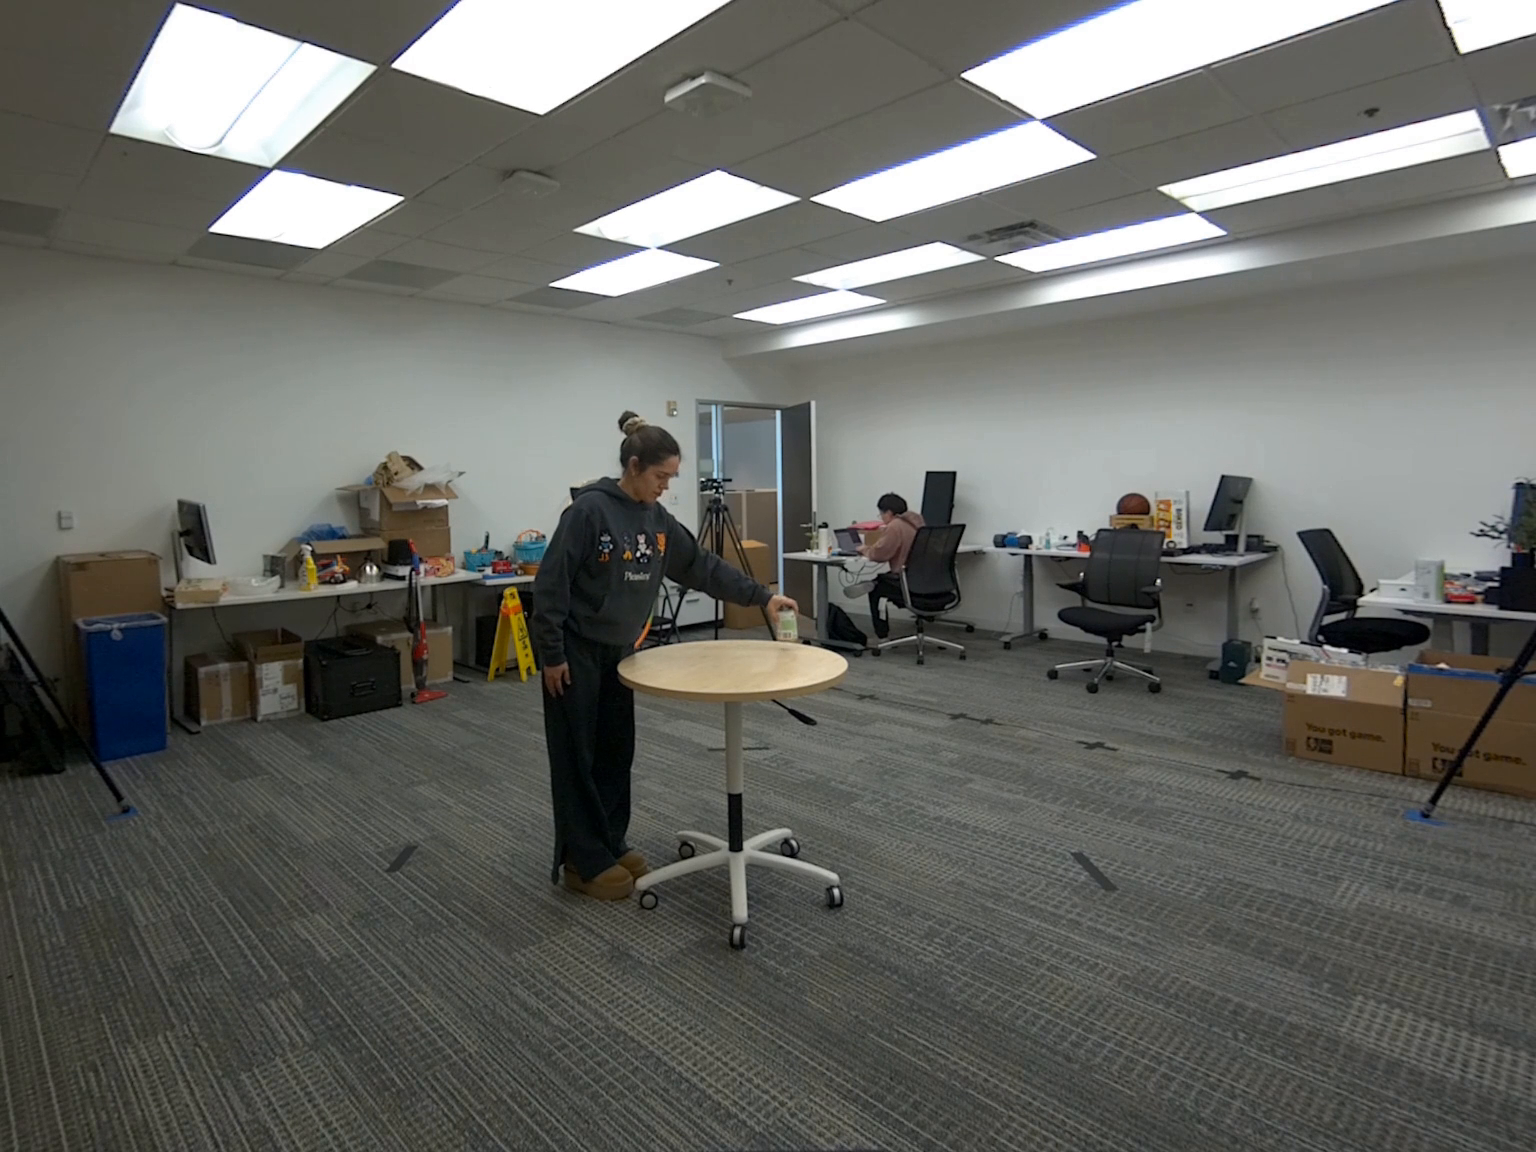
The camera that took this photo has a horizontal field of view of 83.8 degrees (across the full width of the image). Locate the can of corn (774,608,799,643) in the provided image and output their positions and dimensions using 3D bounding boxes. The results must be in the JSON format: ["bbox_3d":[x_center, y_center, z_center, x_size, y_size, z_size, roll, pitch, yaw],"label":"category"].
[{"bbox_3d":[0.055,0.180,3.037,0.074,0.110,0.074,-6,5,-1],"label":"can of corn"}]
